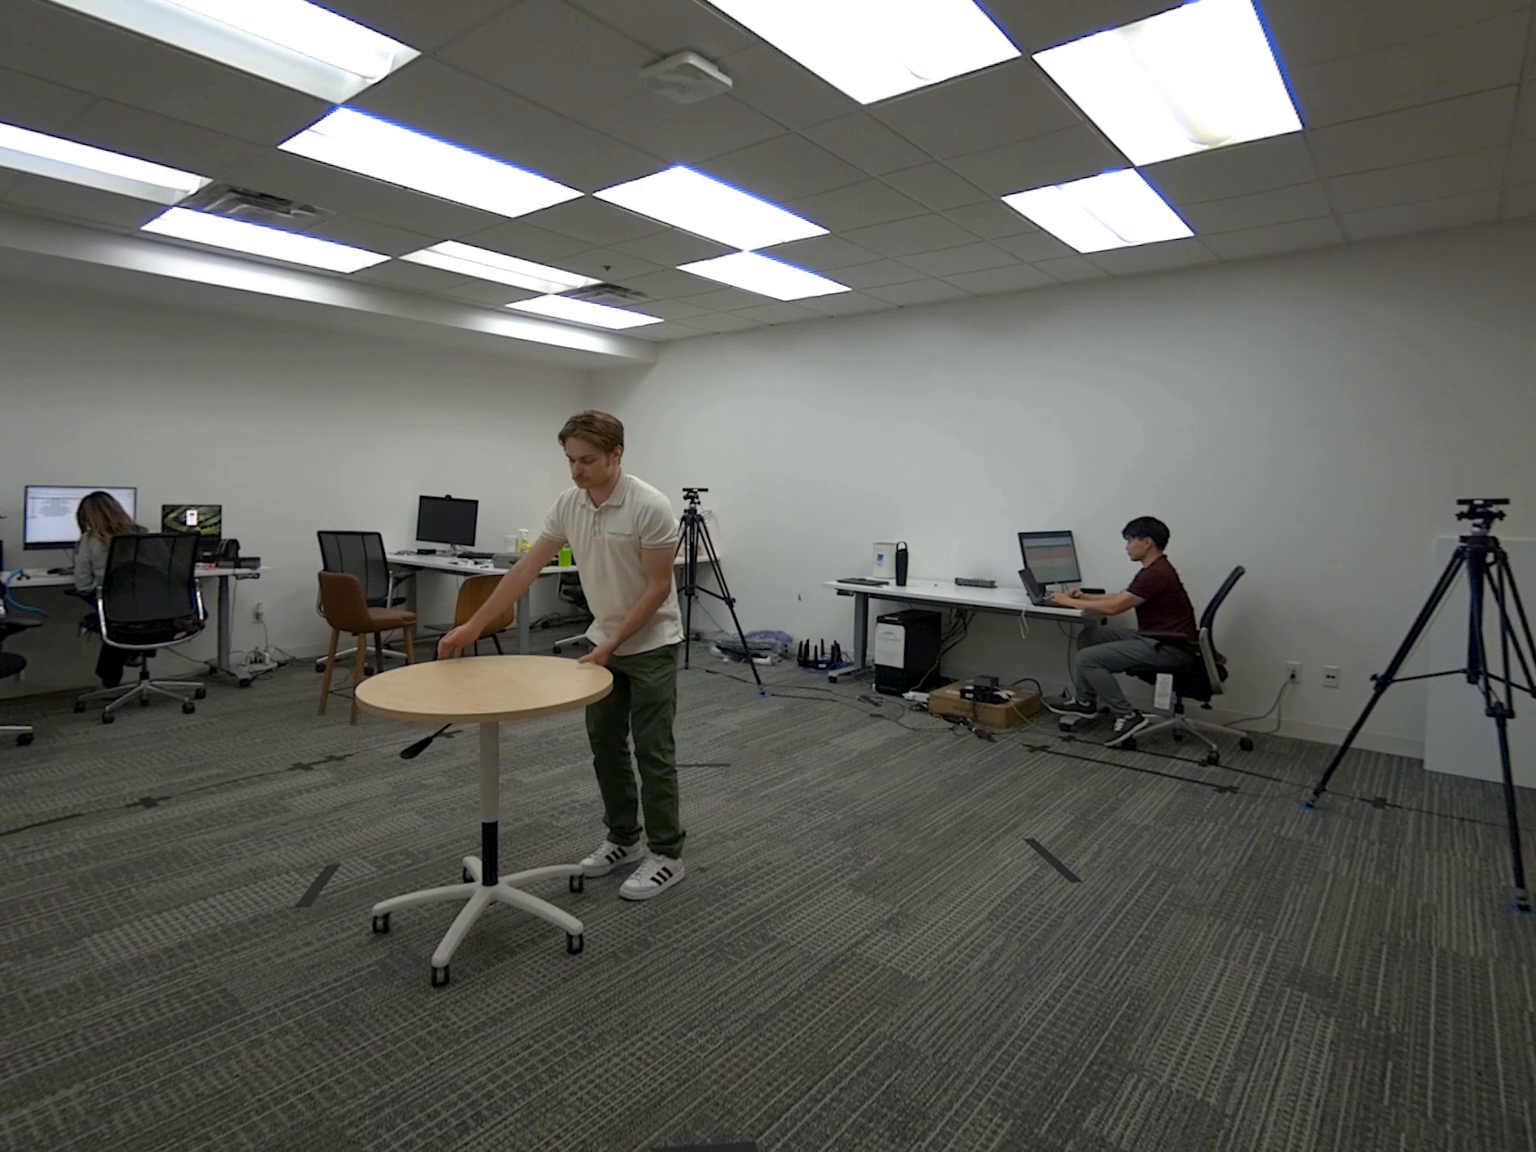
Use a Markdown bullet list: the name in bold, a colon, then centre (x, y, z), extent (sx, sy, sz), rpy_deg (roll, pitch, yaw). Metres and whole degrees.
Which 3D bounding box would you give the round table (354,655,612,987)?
- **round table**: centre (-0.877, 0.716, 2.655), extent (0.763, 0.791, 0.768), rpy_deg (0, 5, -2)
